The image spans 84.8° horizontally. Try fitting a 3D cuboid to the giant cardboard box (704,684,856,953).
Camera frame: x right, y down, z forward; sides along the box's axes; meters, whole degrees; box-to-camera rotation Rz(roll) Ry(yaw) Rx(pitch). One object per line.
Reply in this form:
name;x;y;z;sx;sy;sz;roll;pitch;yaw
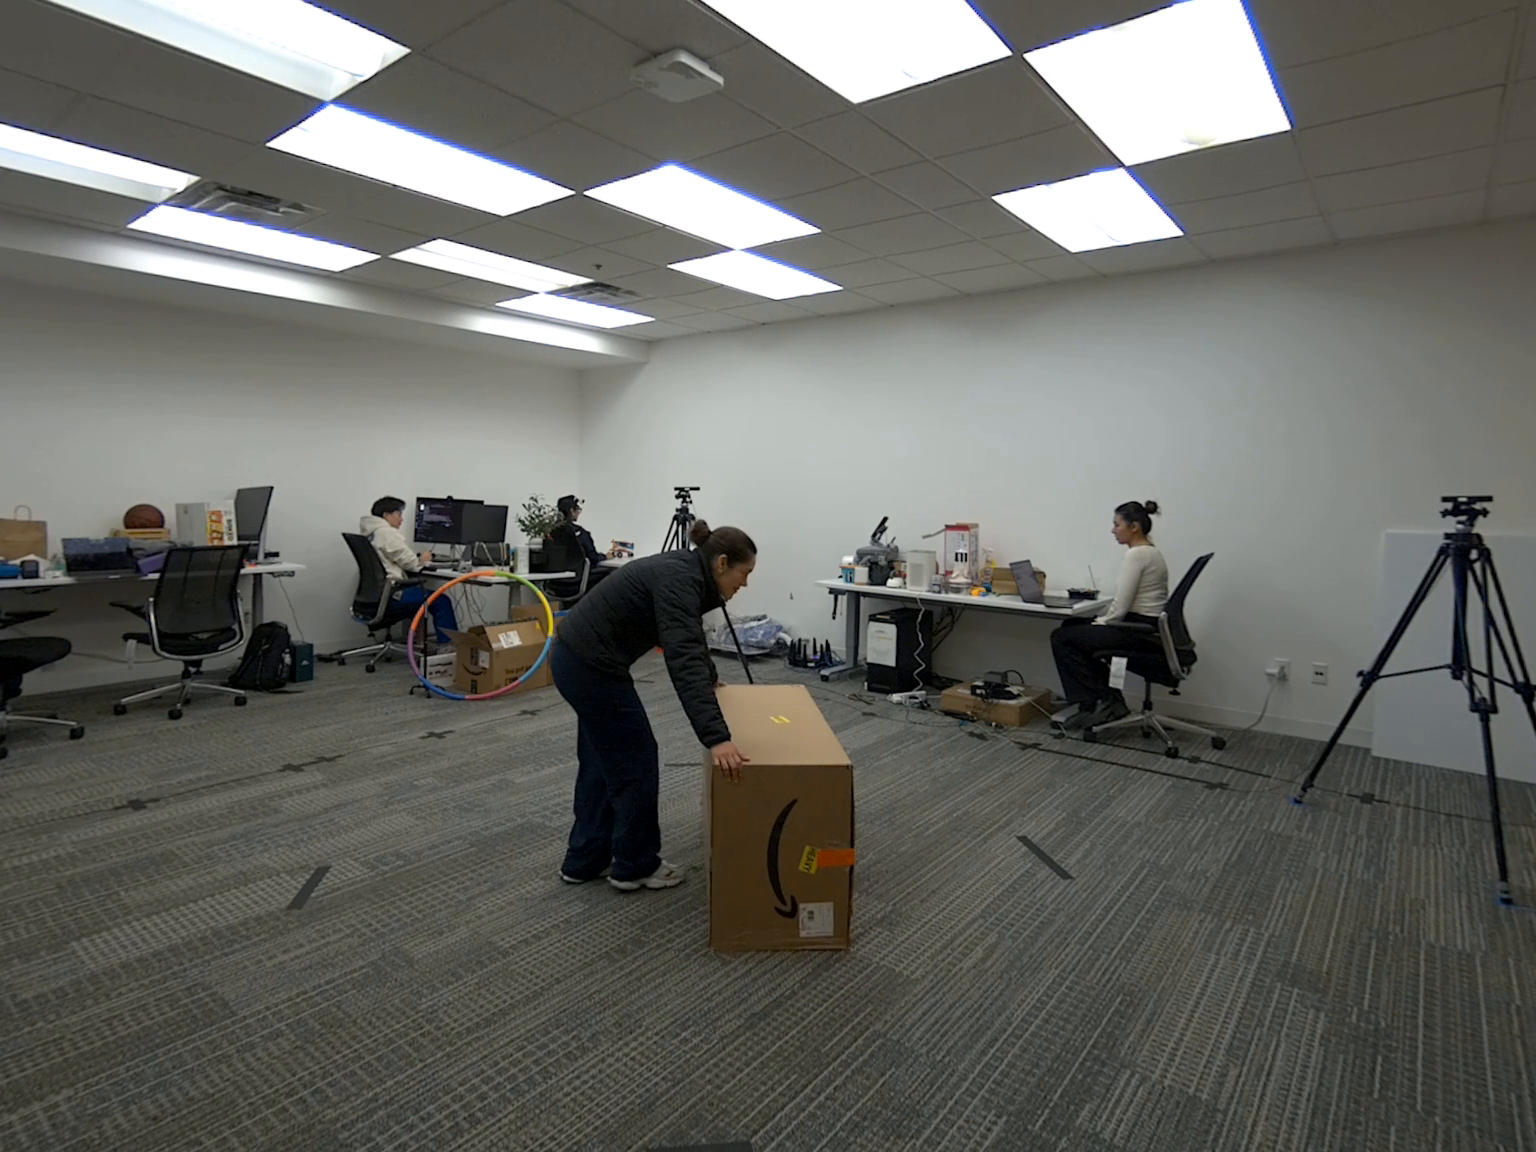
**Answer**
giant cardboard box;0.010;0.785;3.051;0.445;0.581;1.036;1;5;-5
